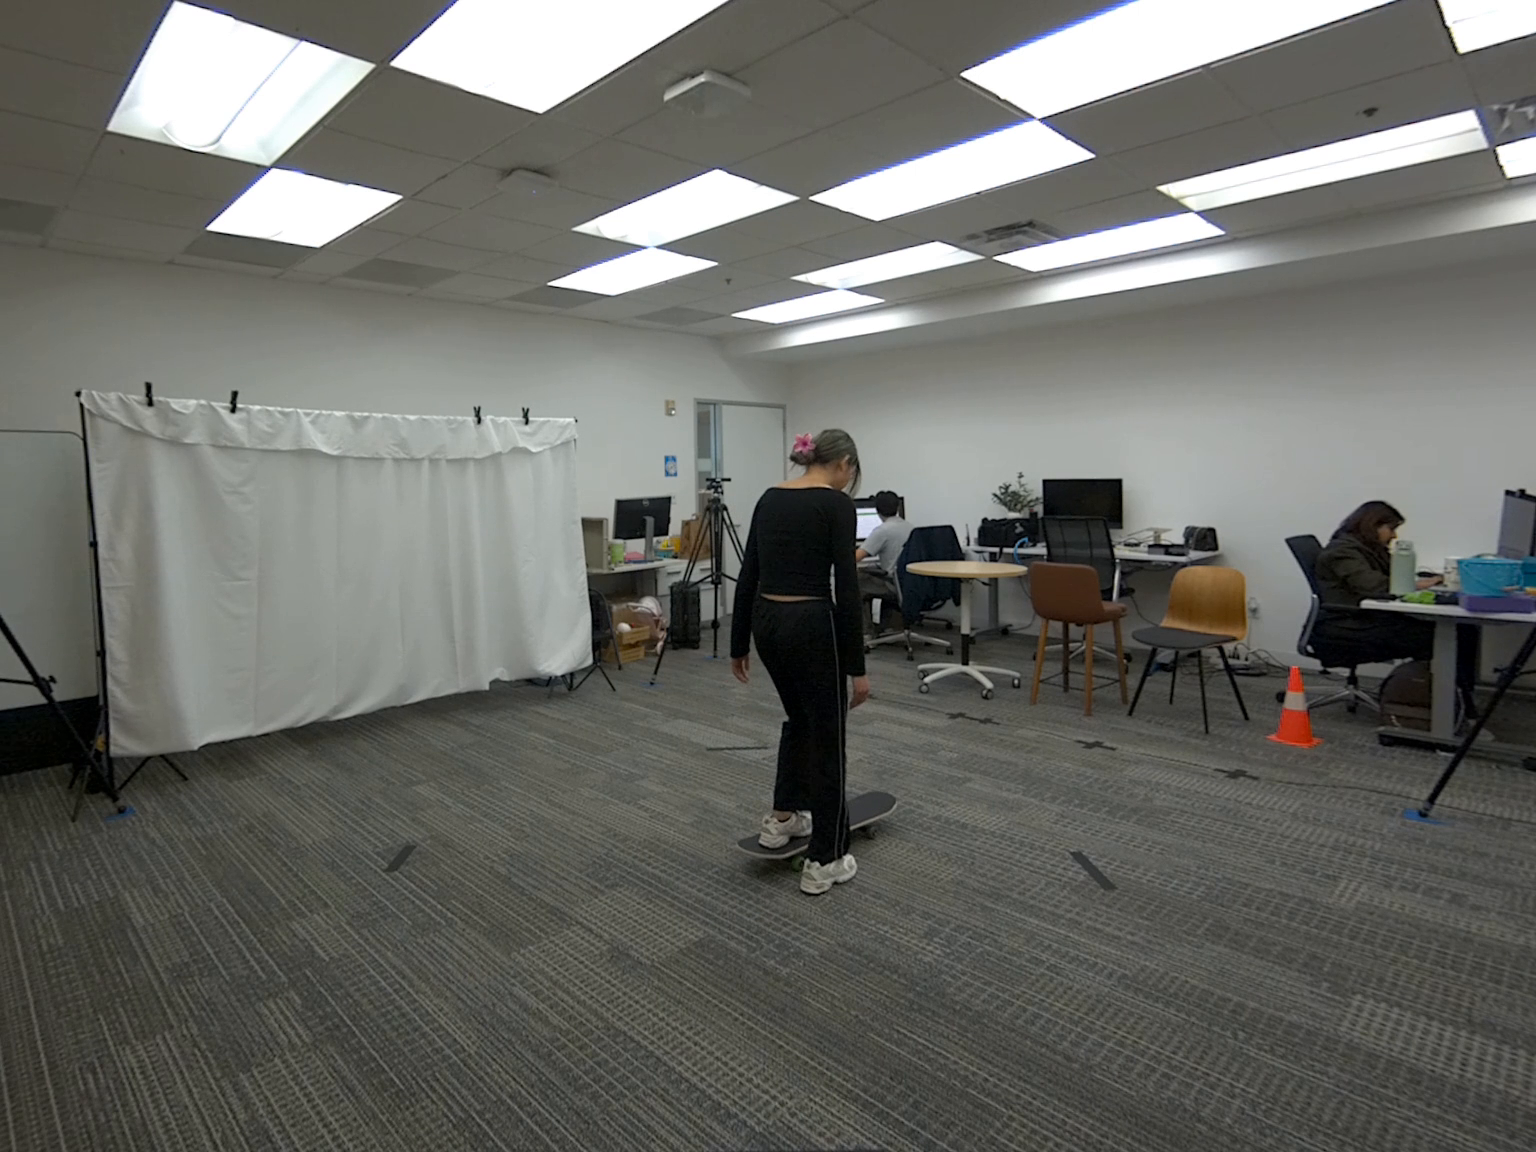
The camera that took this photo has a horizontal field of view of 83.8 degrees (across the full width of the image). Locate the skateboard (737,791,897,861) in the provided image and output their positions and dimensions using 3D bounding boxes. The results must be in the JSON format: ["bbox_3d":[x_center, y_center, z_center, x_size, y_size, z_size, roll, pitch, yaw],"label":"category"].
[{"bbox_3d":[0.208,0.972,3.234,0.765,0.110,0.199,-8,9,-40],"label":"skateboard"}]
